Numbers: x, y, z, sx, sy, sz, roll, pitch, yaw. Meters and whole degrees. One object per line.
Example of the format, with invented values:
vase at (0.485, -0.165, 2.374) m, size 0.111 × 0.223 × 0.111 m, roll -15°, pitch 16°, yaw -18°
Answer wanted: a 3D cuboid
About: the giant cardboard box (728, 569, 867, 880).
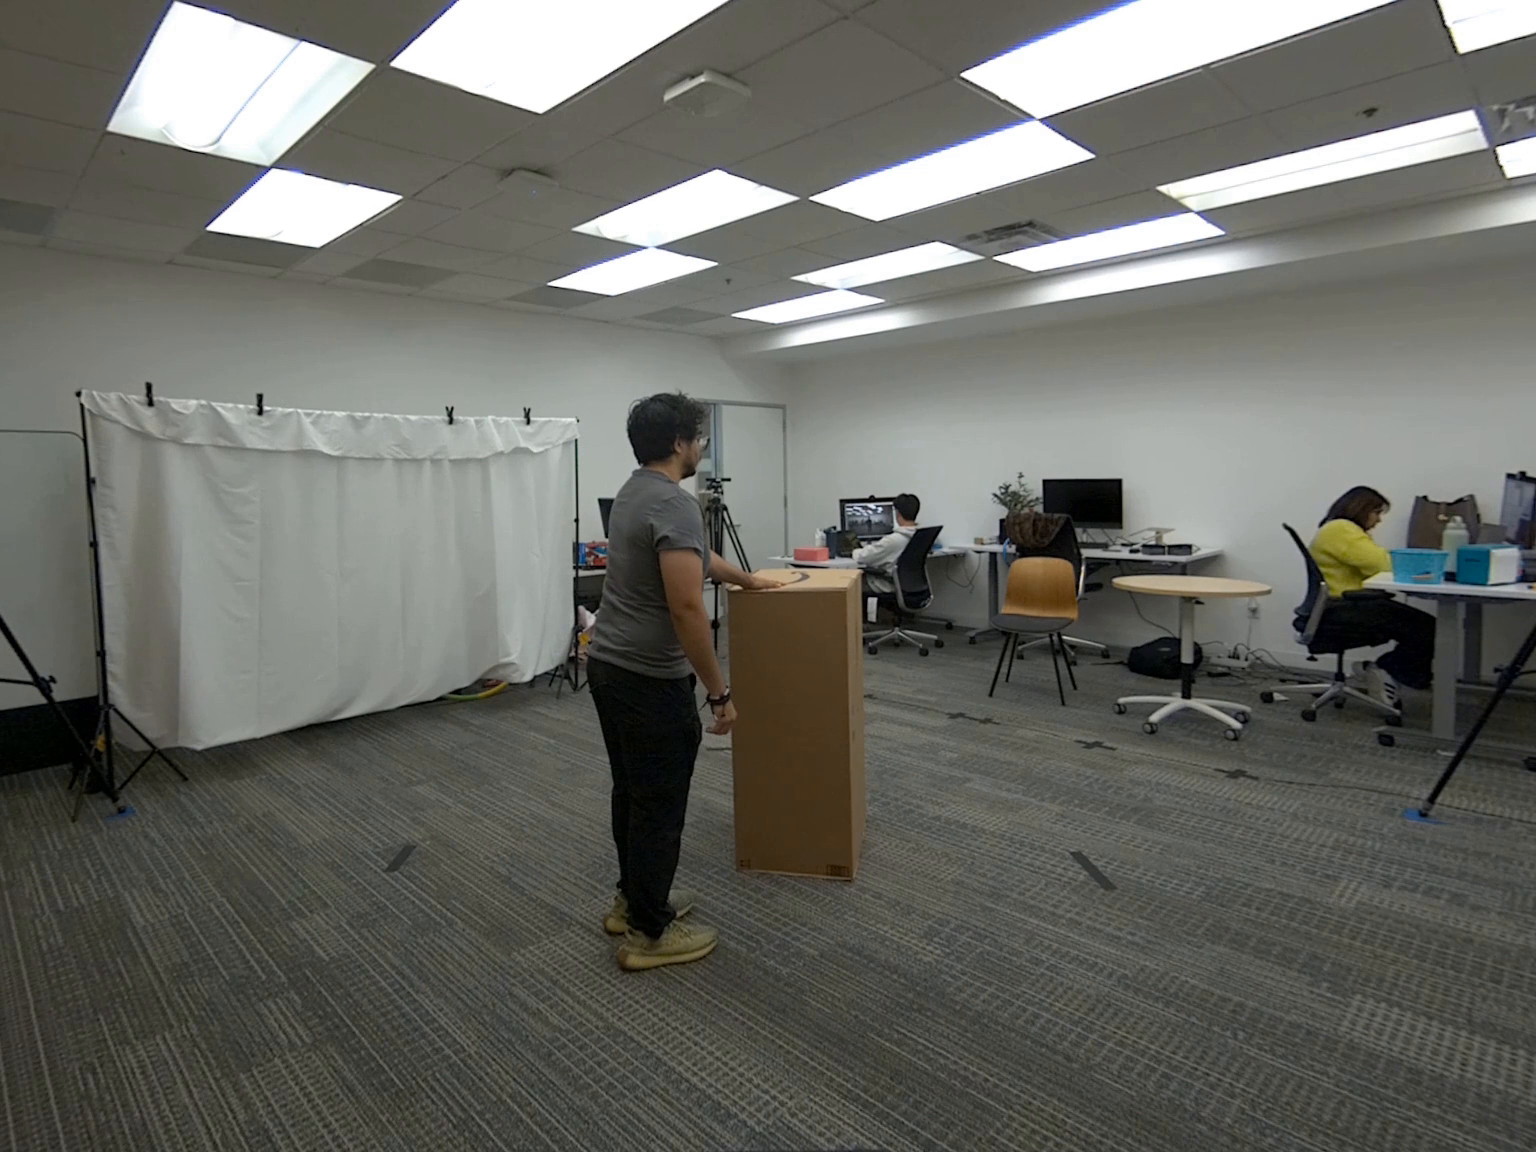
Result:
giant cardboard box at (0.125, 0.513, 3.238) m, size 0.432 × 1.022 × 0.572 m, roll 0°, pitch 5°, yaw 13°
